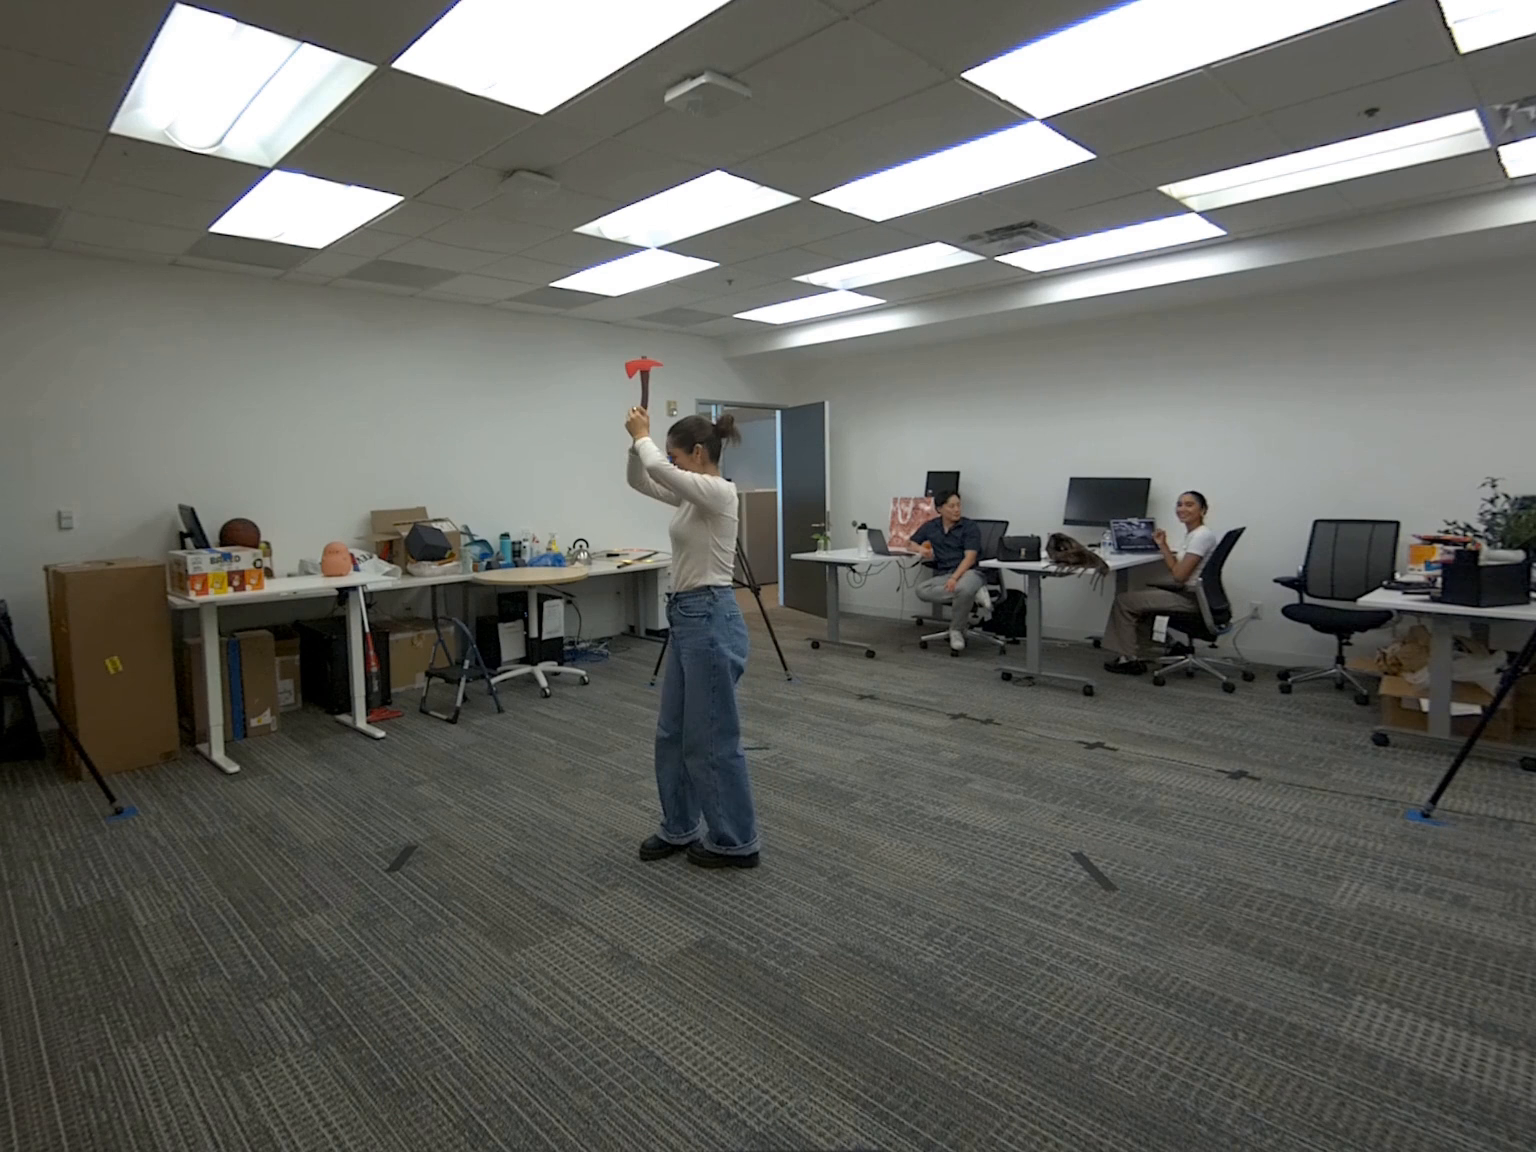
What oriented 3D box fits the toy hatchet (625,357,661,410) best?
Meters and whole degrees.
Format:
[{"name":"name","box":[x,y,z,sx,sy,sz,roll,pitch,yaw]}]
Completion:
[{"name":"toy hatchet","box":[-0.469,-0.653,3.033,0.130,0.270,0.030,16,1,-5]}]
